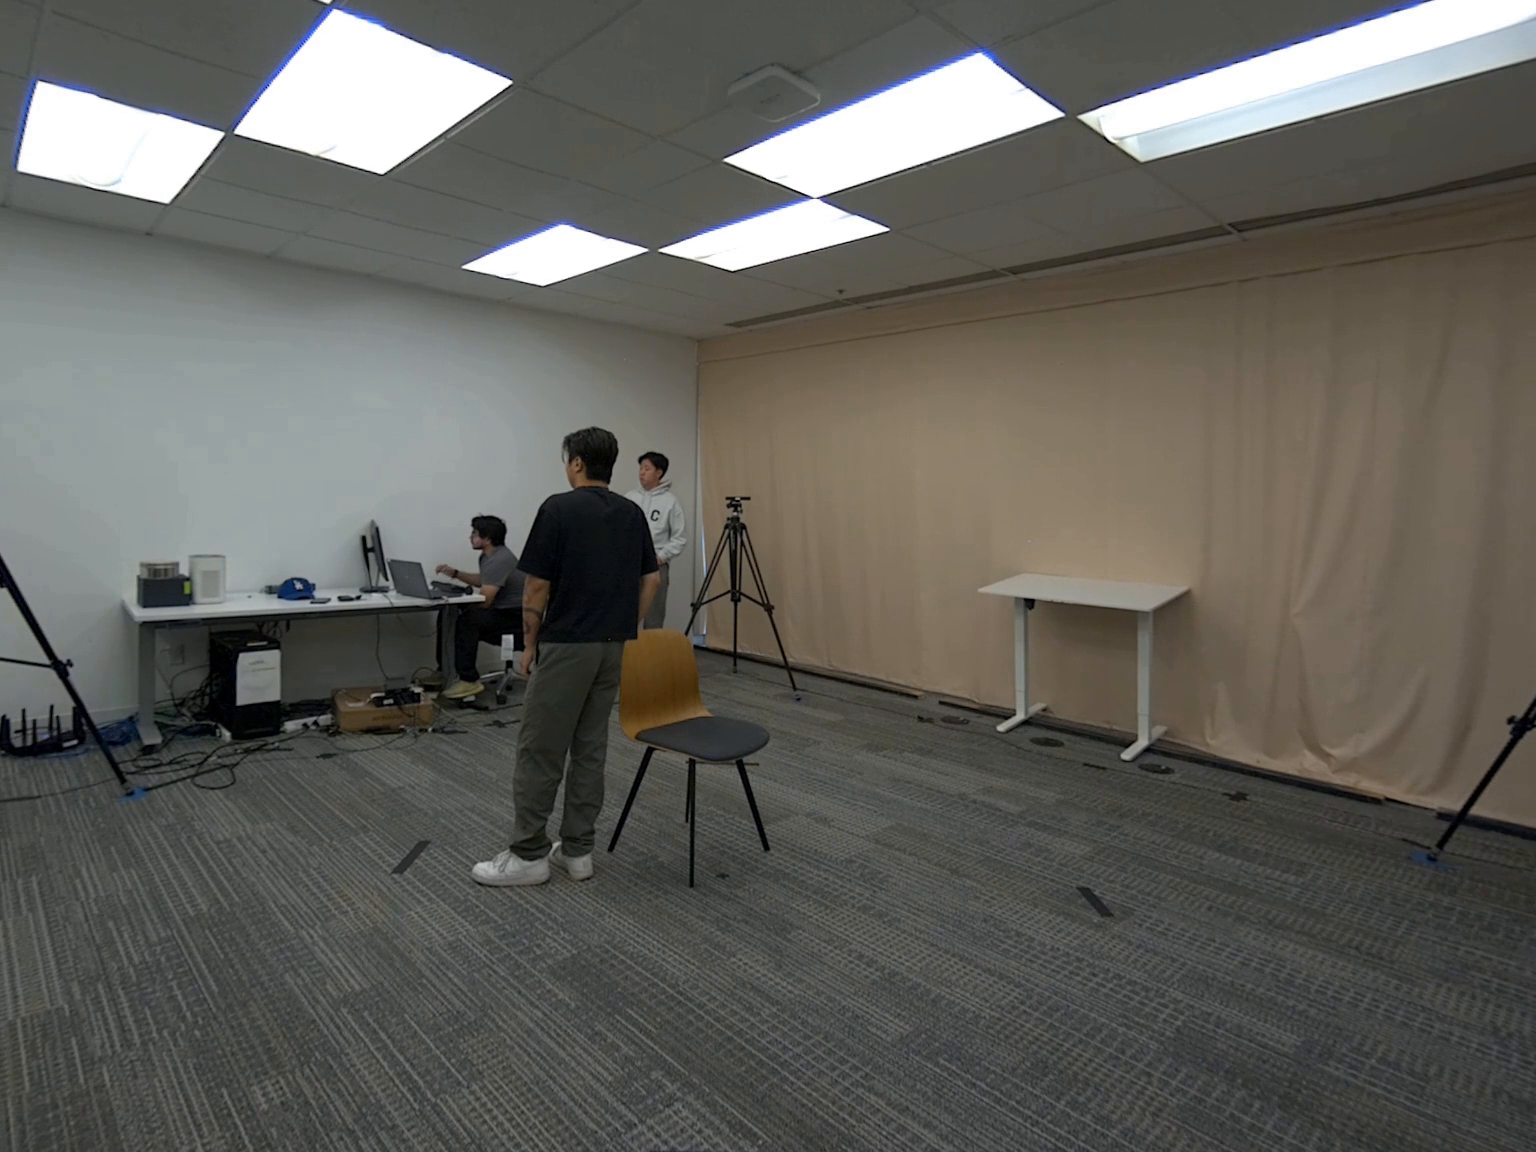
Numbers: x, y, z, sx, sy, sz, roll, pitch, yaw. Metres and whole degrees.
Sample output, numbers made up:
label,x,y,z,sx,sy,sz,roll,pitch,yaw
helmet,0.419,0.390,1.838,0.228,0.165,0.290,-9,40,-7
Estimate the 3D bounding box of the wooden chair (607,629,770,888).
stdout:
label,x,y,z,sx,sy,sz,roll,pitch,yaw
wooden chair,-0.294,0.662,3.283,0.535,0.877,0.467,-1,1,40
